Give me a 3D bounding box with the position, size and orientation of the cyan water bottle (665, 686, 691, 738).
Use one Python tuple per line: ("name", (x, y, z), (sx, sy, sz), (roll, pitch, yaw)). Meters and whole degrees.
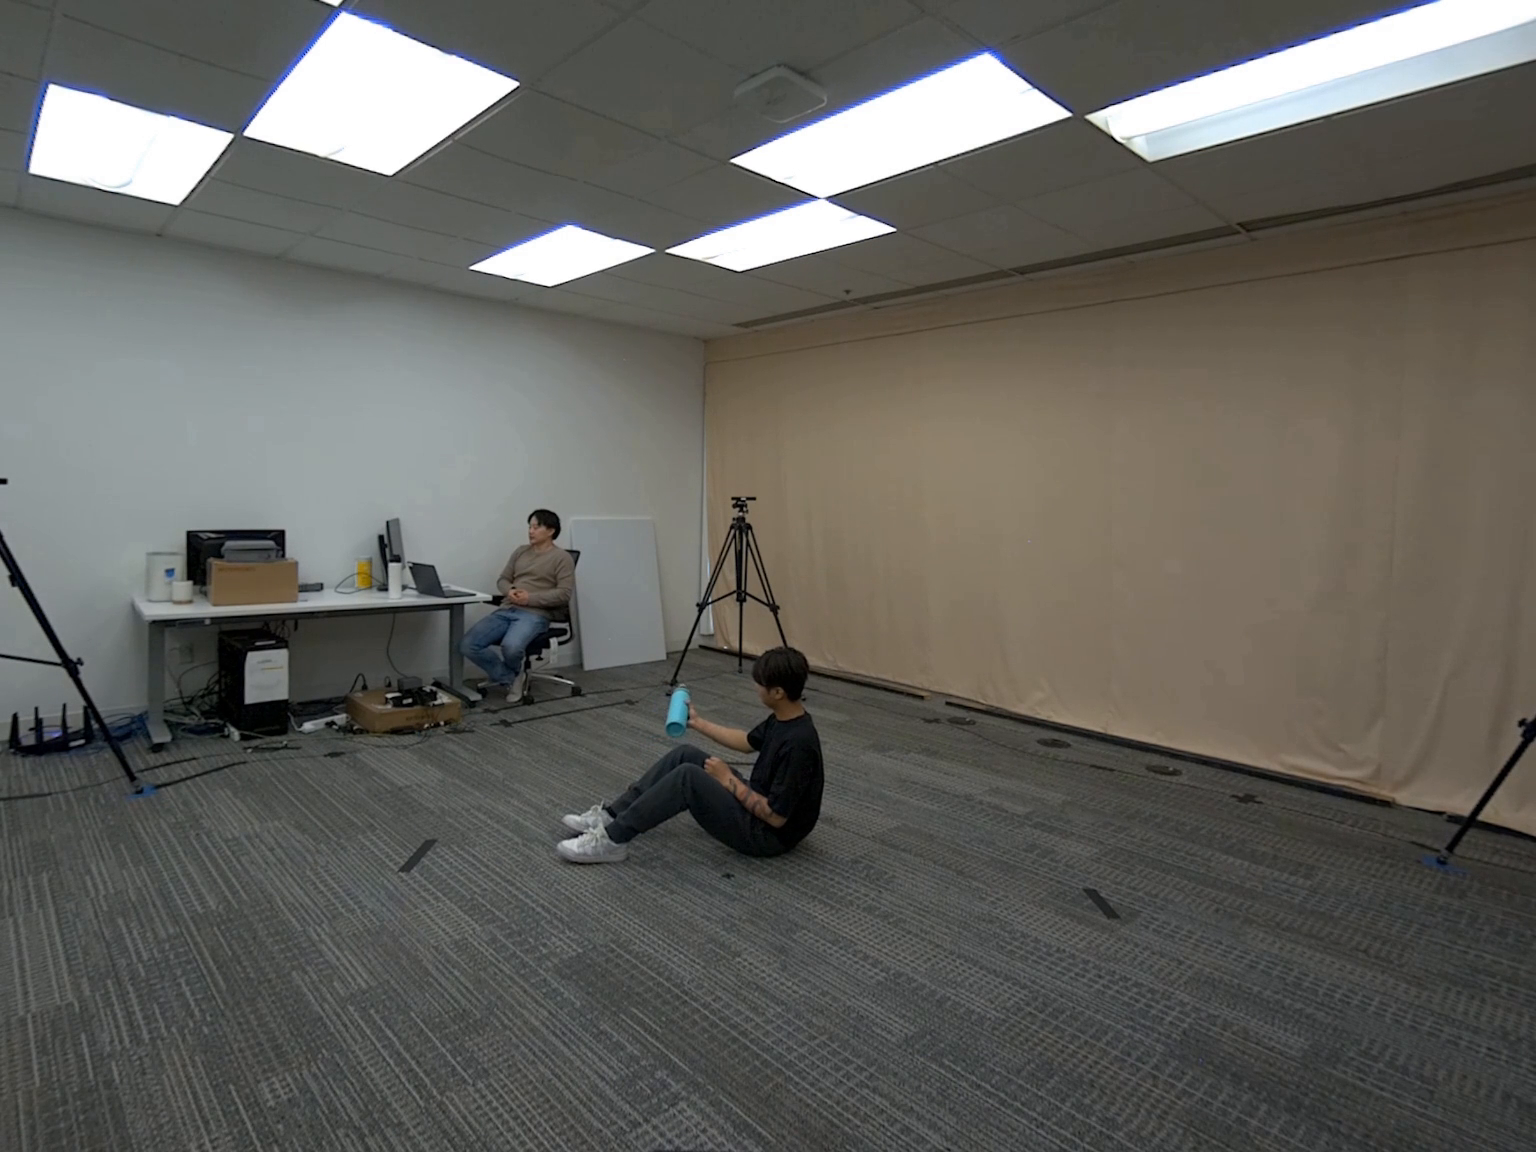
("cyan water bottle", (-0.408, 0.595, 3.768), (0.092, 0.091, 0.288), (1, 27, 1))
